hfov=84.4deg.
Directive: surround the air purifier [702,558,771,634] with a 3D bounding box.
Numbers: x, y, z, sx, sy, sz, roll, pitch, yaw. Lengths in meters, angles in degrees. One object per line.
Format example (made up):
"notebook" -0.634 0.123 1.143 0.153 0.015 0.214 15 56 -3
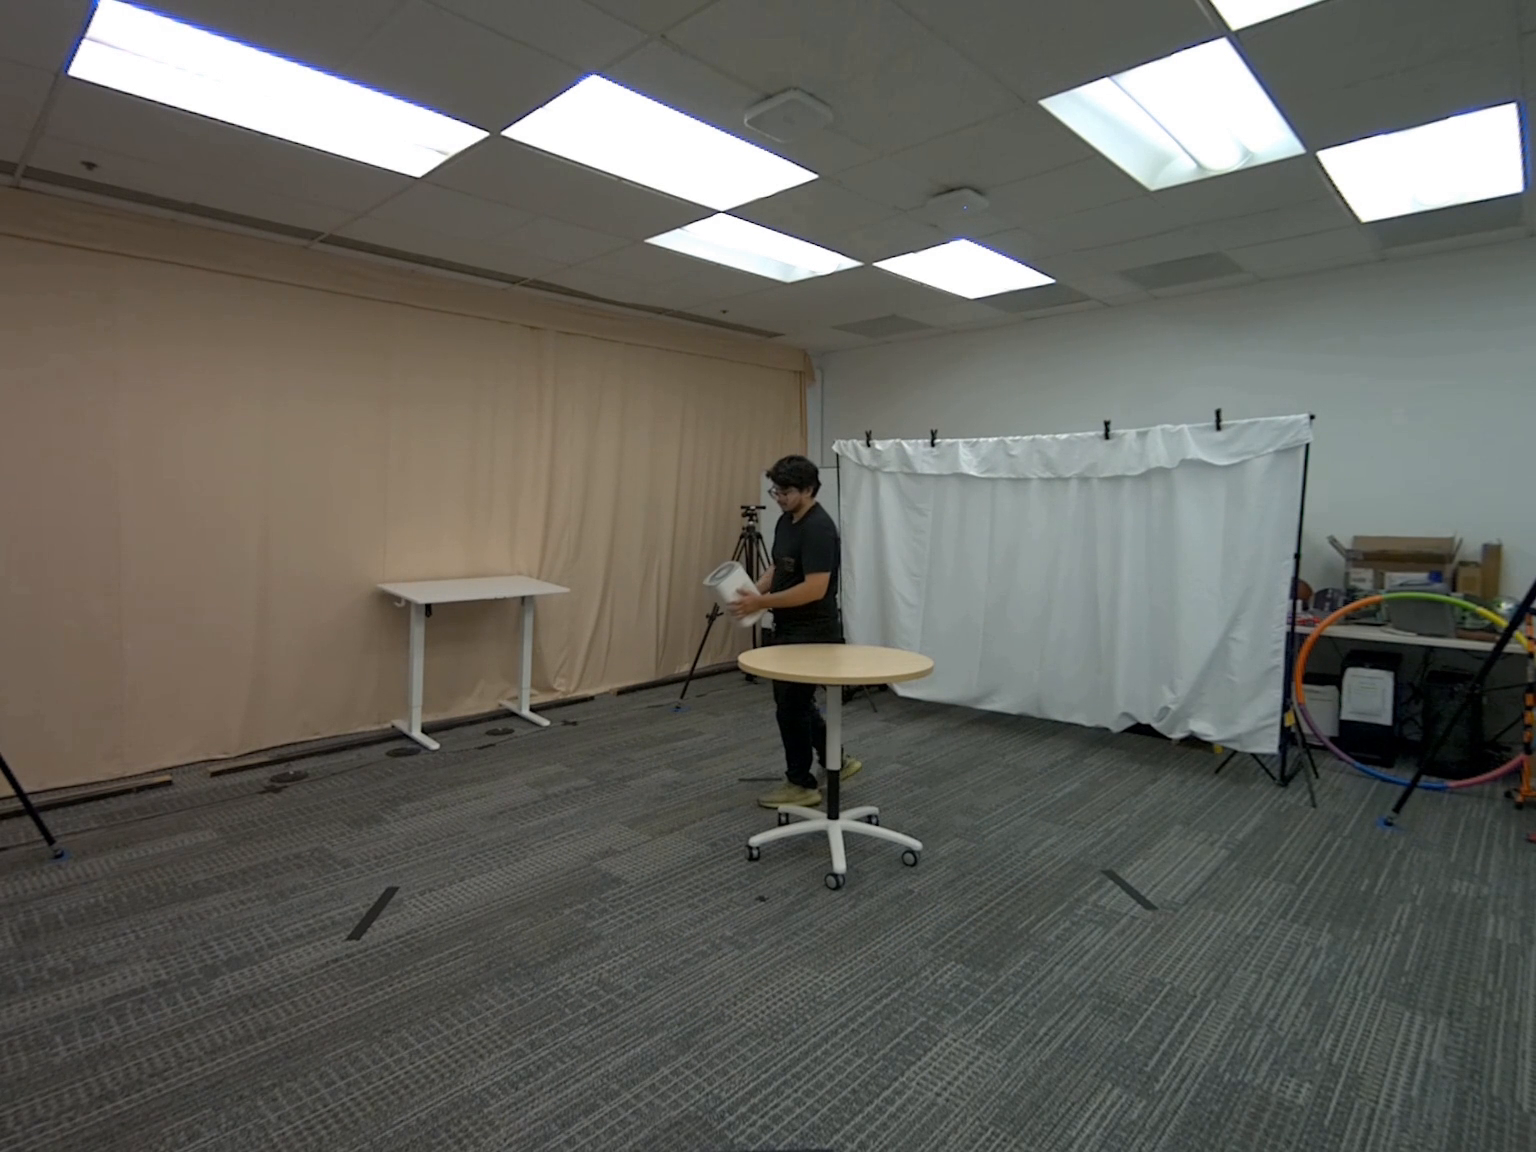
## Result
"air purifier" -0.129 0.085 3.806 0.172 0.257 0.173 -39 19 -17
